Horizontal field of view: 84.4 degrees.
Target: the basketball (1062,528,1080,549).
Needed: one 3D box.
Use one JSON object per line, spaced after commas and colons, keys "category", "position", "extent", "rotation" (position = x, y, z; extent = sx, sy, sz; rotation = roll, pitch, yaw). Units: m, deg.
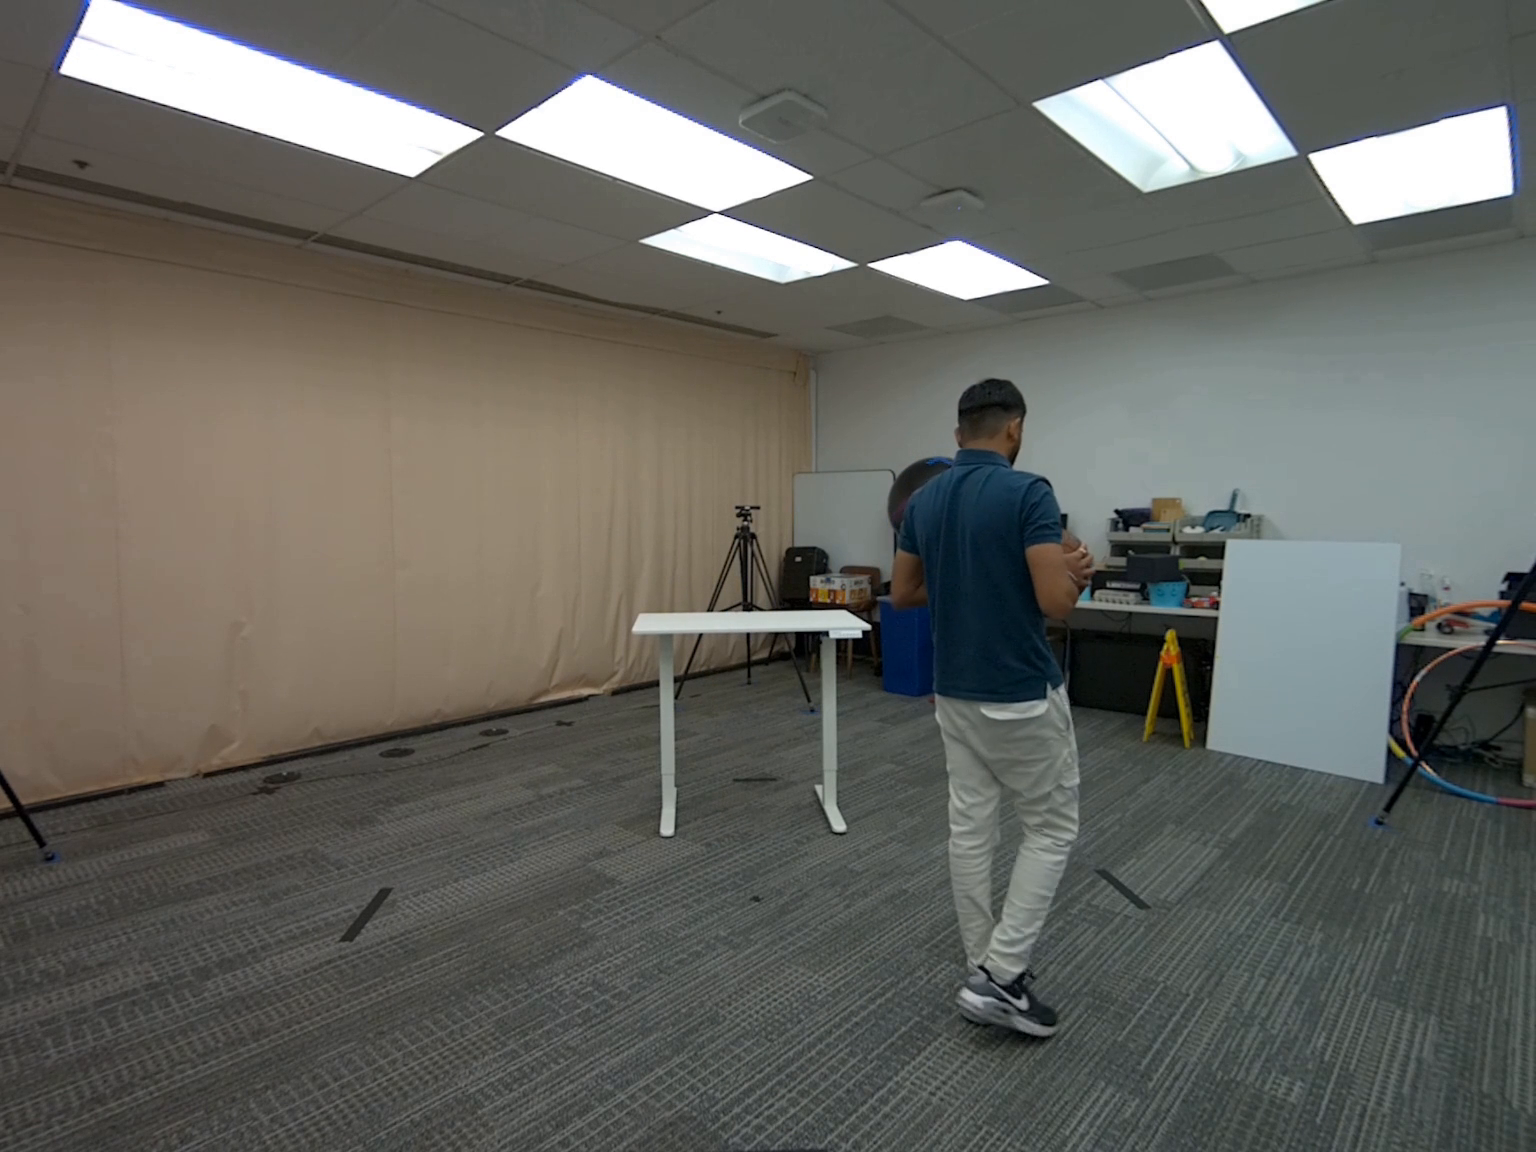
{"category": "basketball", "position": [0.823, -0.023, 2.424], "extent": [0.236, 0.235, 0.237], "rotation": [0, 4, -2]}
